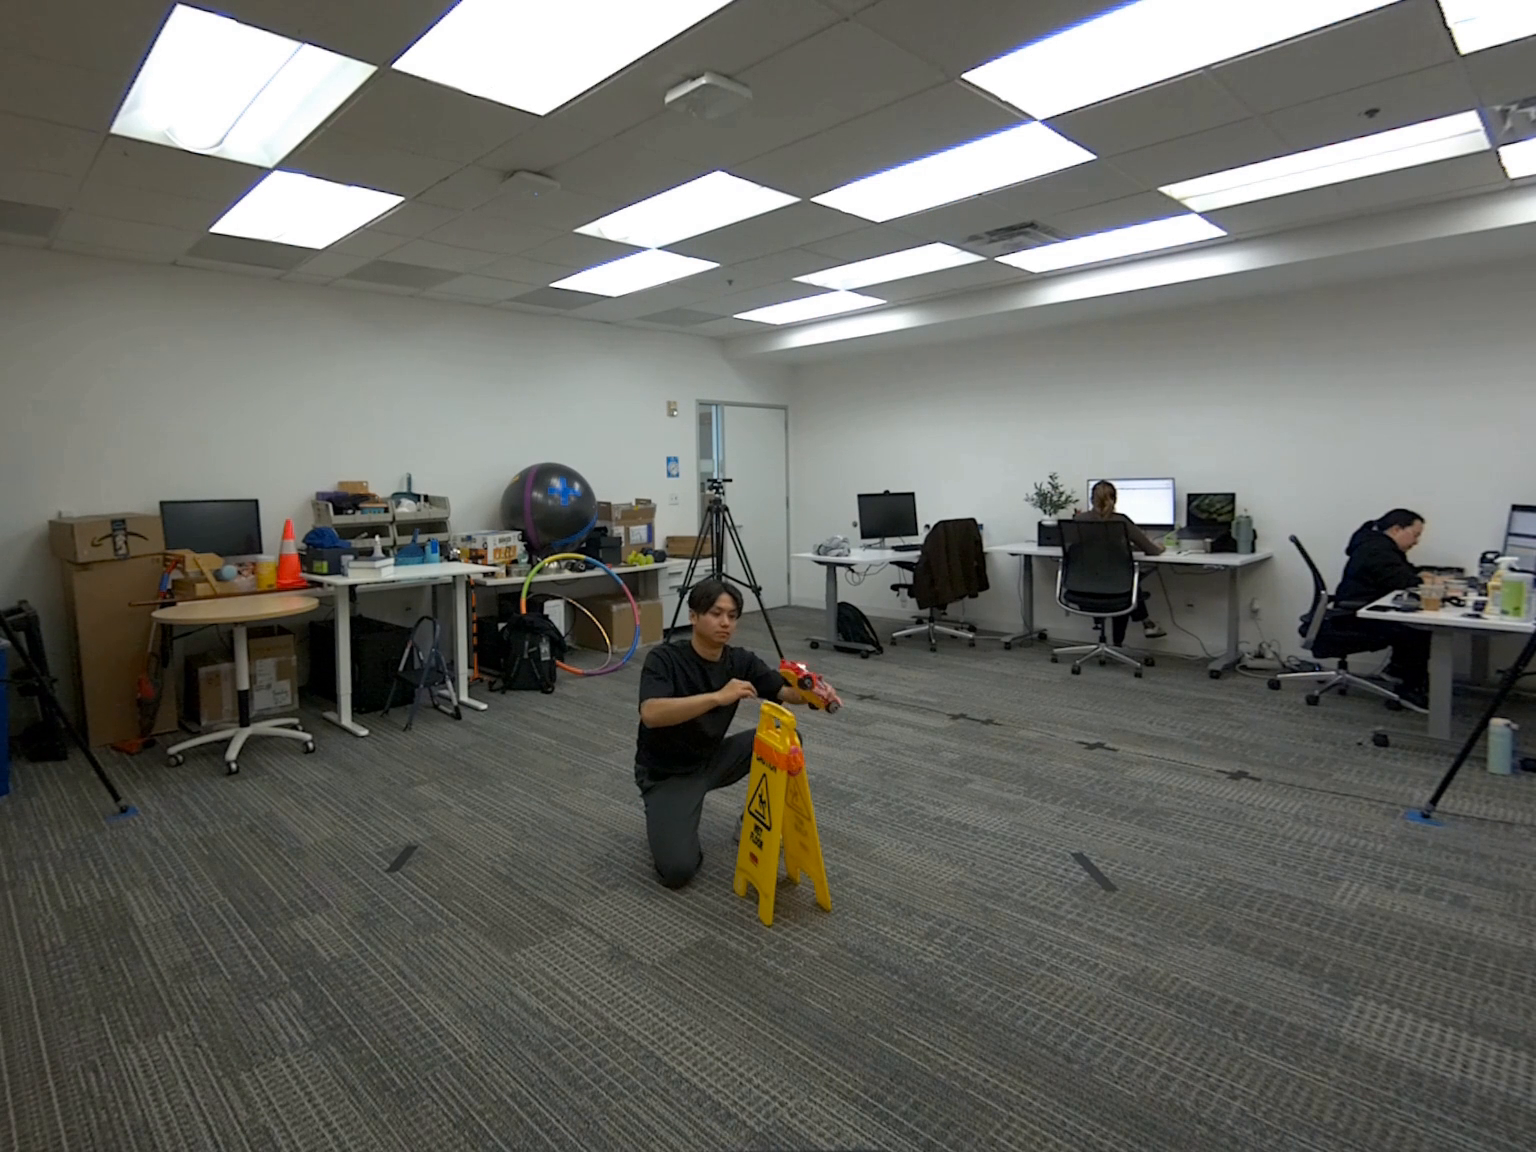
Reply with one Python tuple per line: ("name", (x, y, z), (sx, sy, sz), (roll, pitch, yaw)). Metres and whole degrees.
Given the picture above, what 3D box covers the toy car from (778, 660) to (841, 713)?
("toy car", (0.132, 0.376, 2.811), (0.083, 0.248, 0.134), (-44, 22, -27))
